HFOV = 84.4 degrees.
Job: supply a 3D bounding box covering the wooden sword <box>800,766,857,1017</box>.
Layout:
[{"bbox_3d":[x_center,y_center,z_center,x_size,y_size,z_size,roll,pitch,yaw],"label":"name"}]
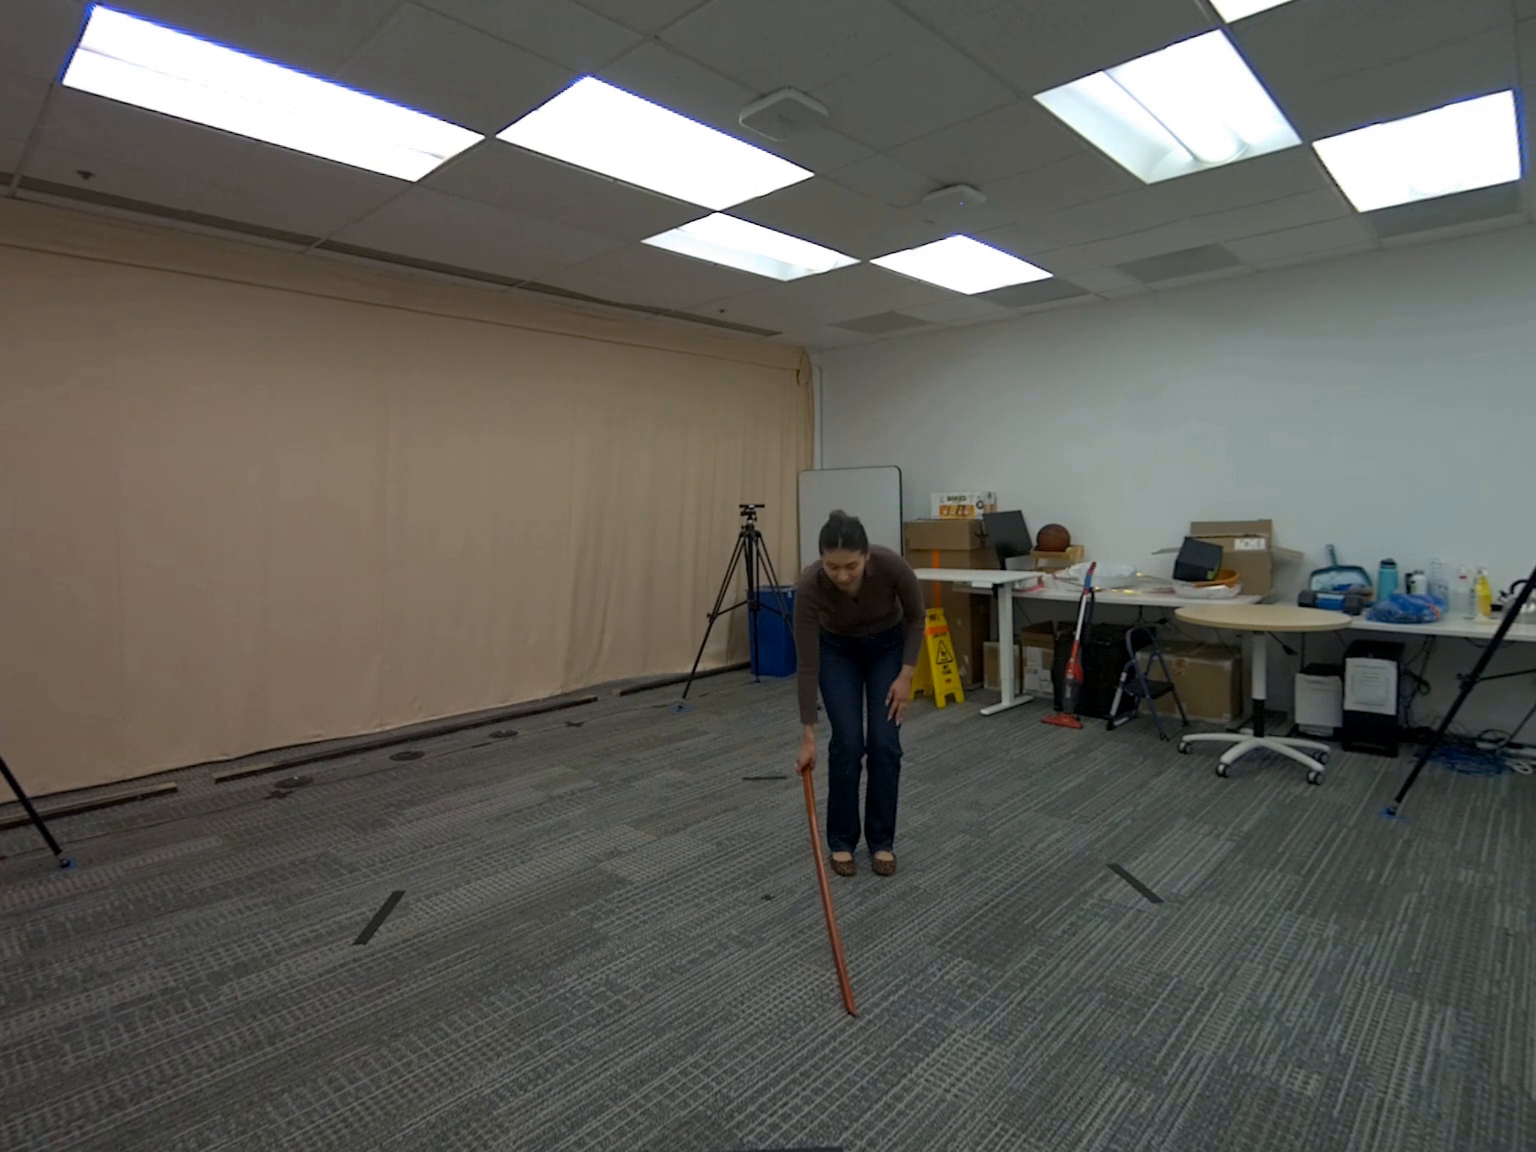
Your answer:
[{"bbox_3d":[0.193,0.943,2.738,0.023,0.051,1.044,37,19,-22],"label":"wooden sword"}]
